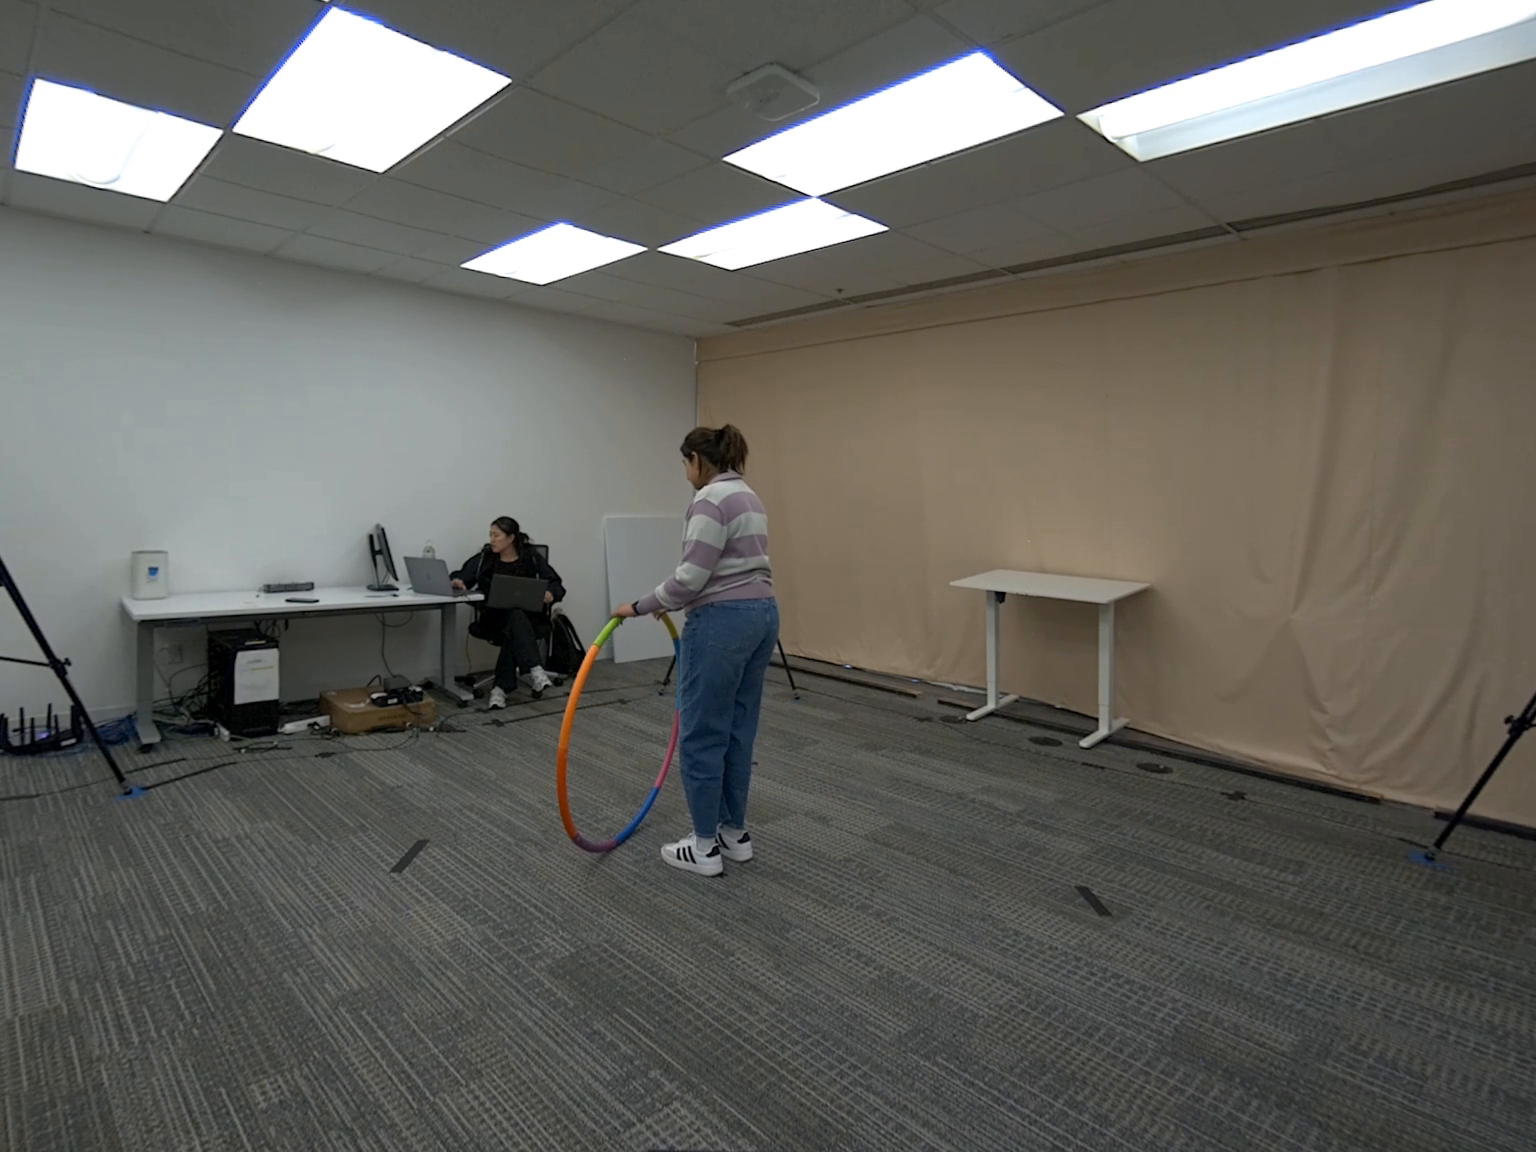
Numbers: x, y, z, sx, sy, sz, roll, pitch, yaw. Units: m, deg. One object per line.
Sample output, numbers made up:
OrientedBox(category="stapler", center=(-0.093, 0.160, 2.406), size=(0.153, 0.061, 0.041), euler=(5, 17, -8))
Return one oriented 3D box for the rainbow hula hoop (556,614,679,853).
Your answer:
OrientedBox(category="rainbow hula hoop", center=(-0.556, 0.590, 3.334), size=(0.036, 0.975, 0.966), euler=(7, 6, 17))
